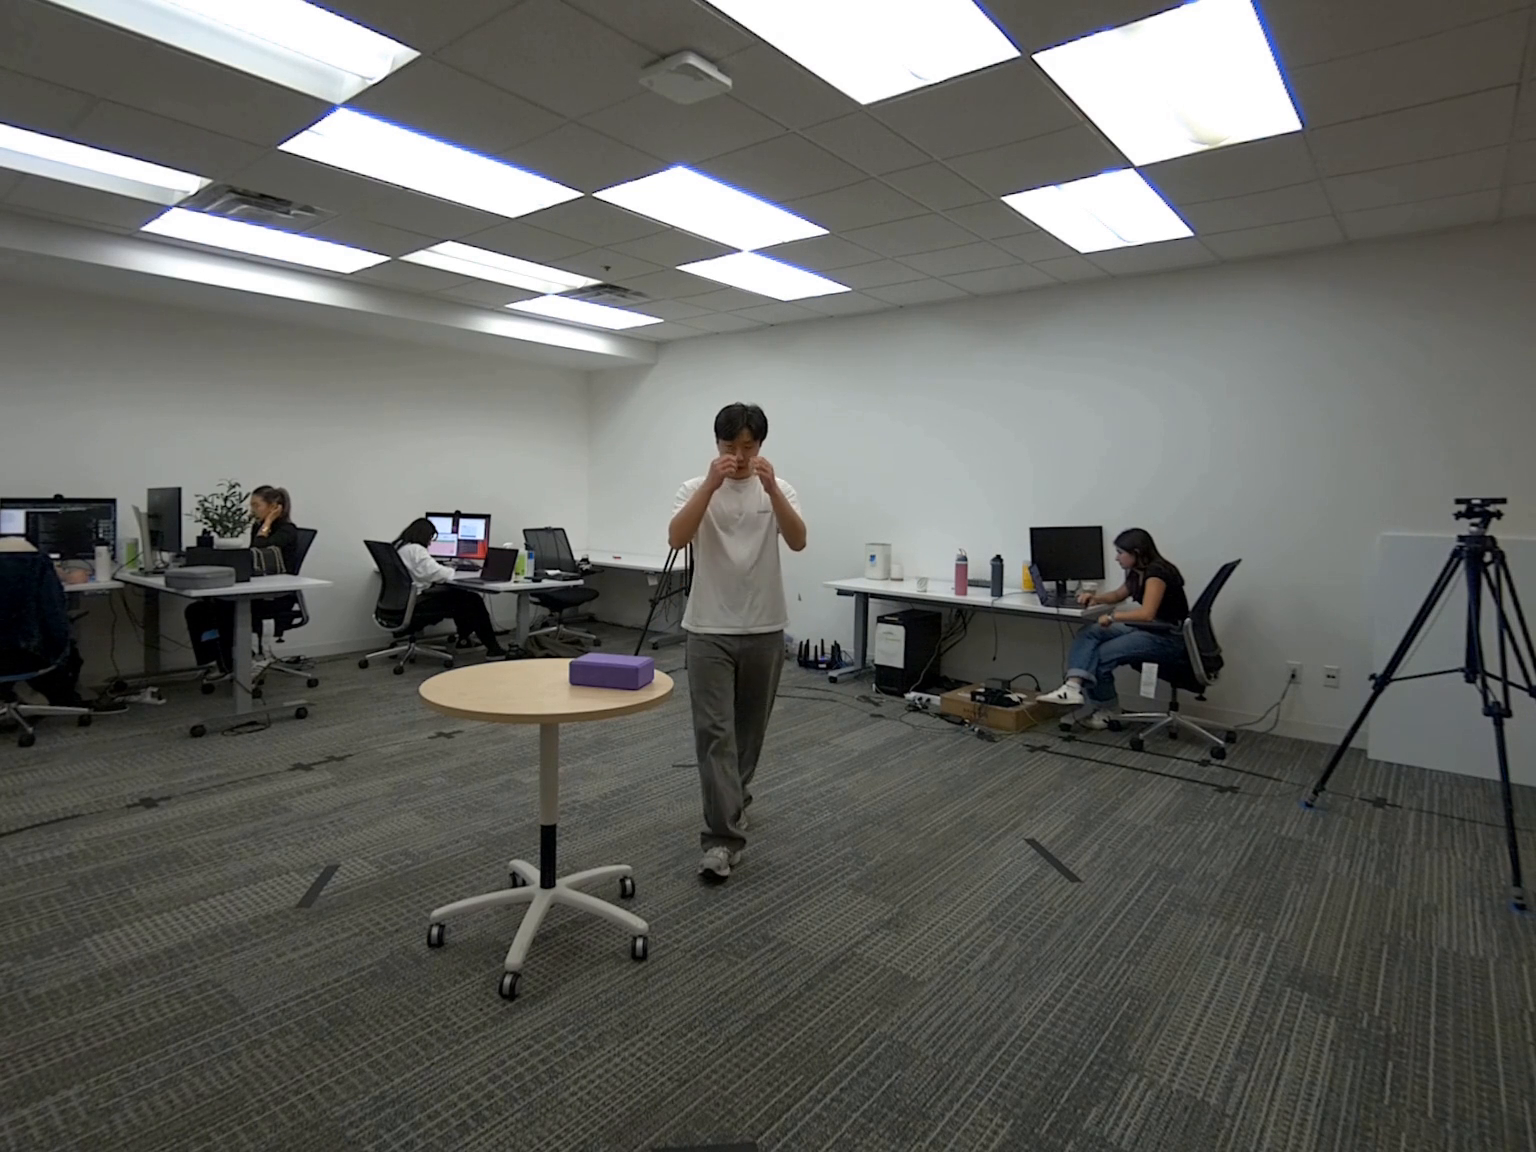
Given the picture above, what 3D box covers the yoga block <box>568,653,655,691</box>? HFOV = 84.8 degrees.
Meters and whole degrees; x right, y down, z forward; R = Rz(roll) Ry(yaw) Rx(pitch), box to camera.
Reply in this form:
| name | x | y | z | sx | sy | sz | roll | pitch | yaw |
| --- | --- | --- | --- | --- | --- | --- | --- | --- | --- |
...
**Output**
| name | x | y | z | sx | sy | sz | roll | pitch | yaw |
| --- | --- | --- | --- | --- | --- | --- | --- | --- | --- |
| yoga block | -0.488 | 0.288 | 2.636 | 0.233 | 0.076 | 0.147 | 2 | 5 | 14 |
